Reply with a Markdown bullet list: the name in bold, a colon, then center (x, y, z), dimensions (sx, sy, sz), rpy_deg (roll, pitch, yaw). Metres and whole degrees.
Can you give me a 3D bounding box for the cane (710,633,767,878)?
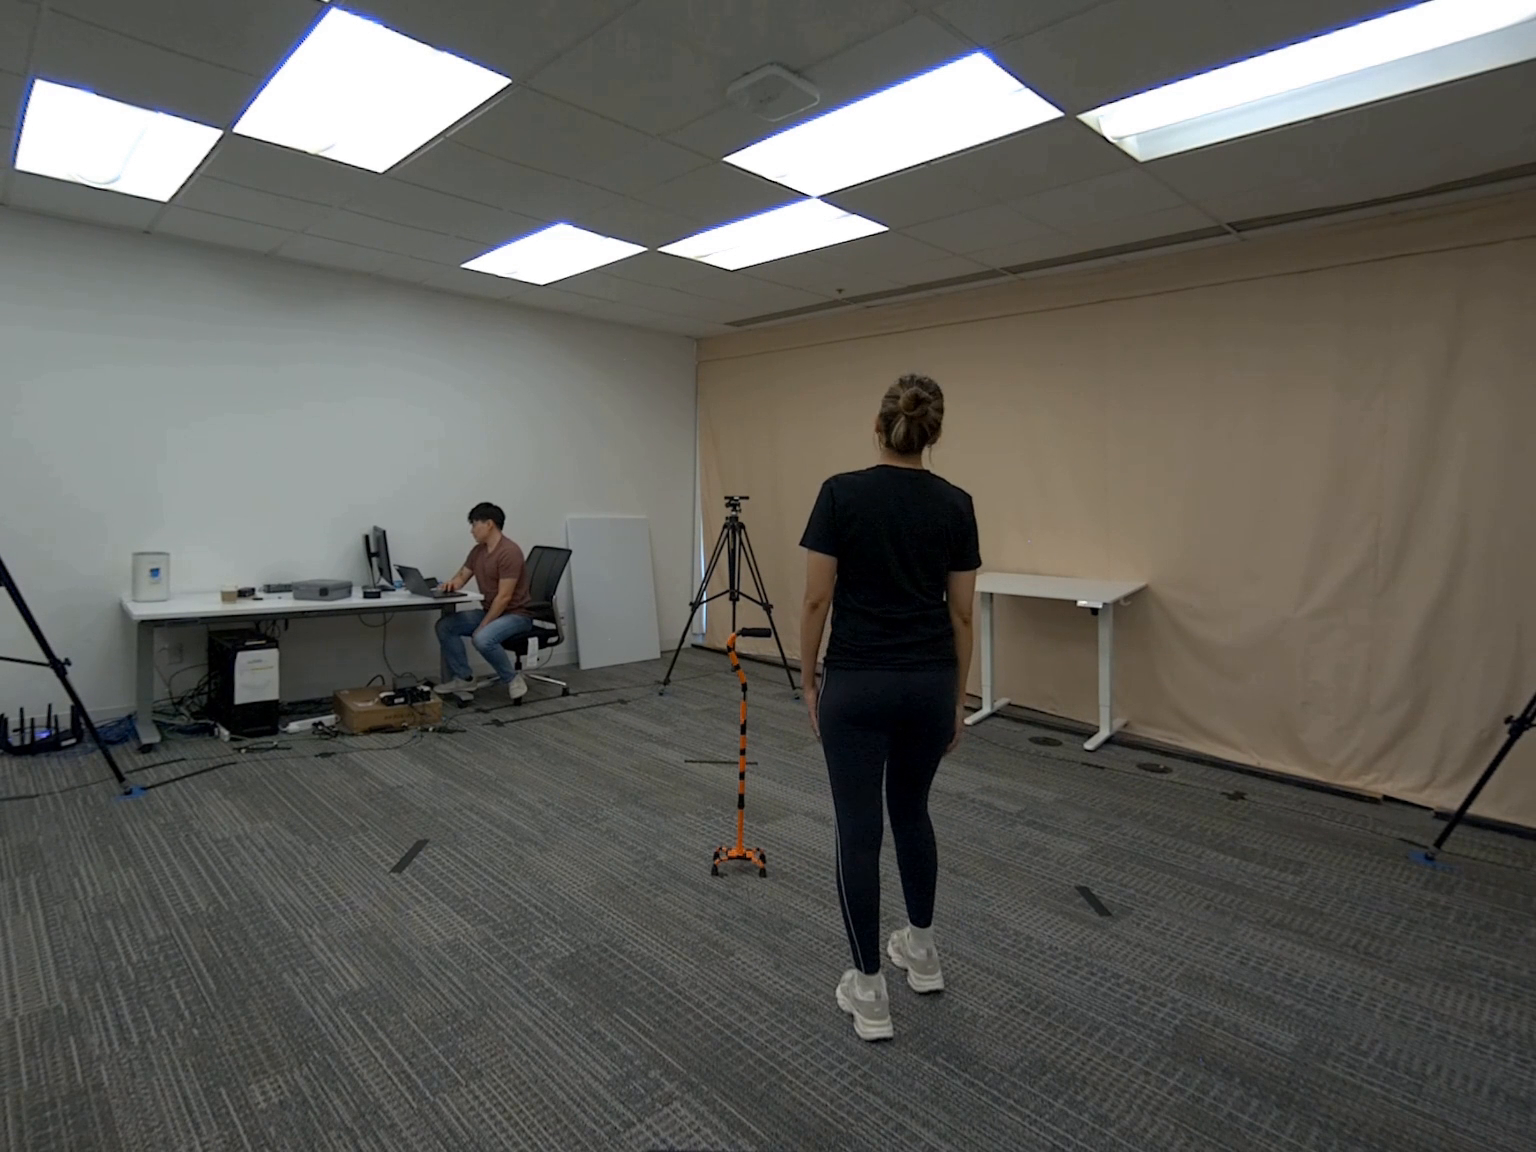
- **cane**: center (-0.105, 0.648, 3.141), dimensions (0.206, 0.906, 0.152), rpy_deg (1, 3, 0)
